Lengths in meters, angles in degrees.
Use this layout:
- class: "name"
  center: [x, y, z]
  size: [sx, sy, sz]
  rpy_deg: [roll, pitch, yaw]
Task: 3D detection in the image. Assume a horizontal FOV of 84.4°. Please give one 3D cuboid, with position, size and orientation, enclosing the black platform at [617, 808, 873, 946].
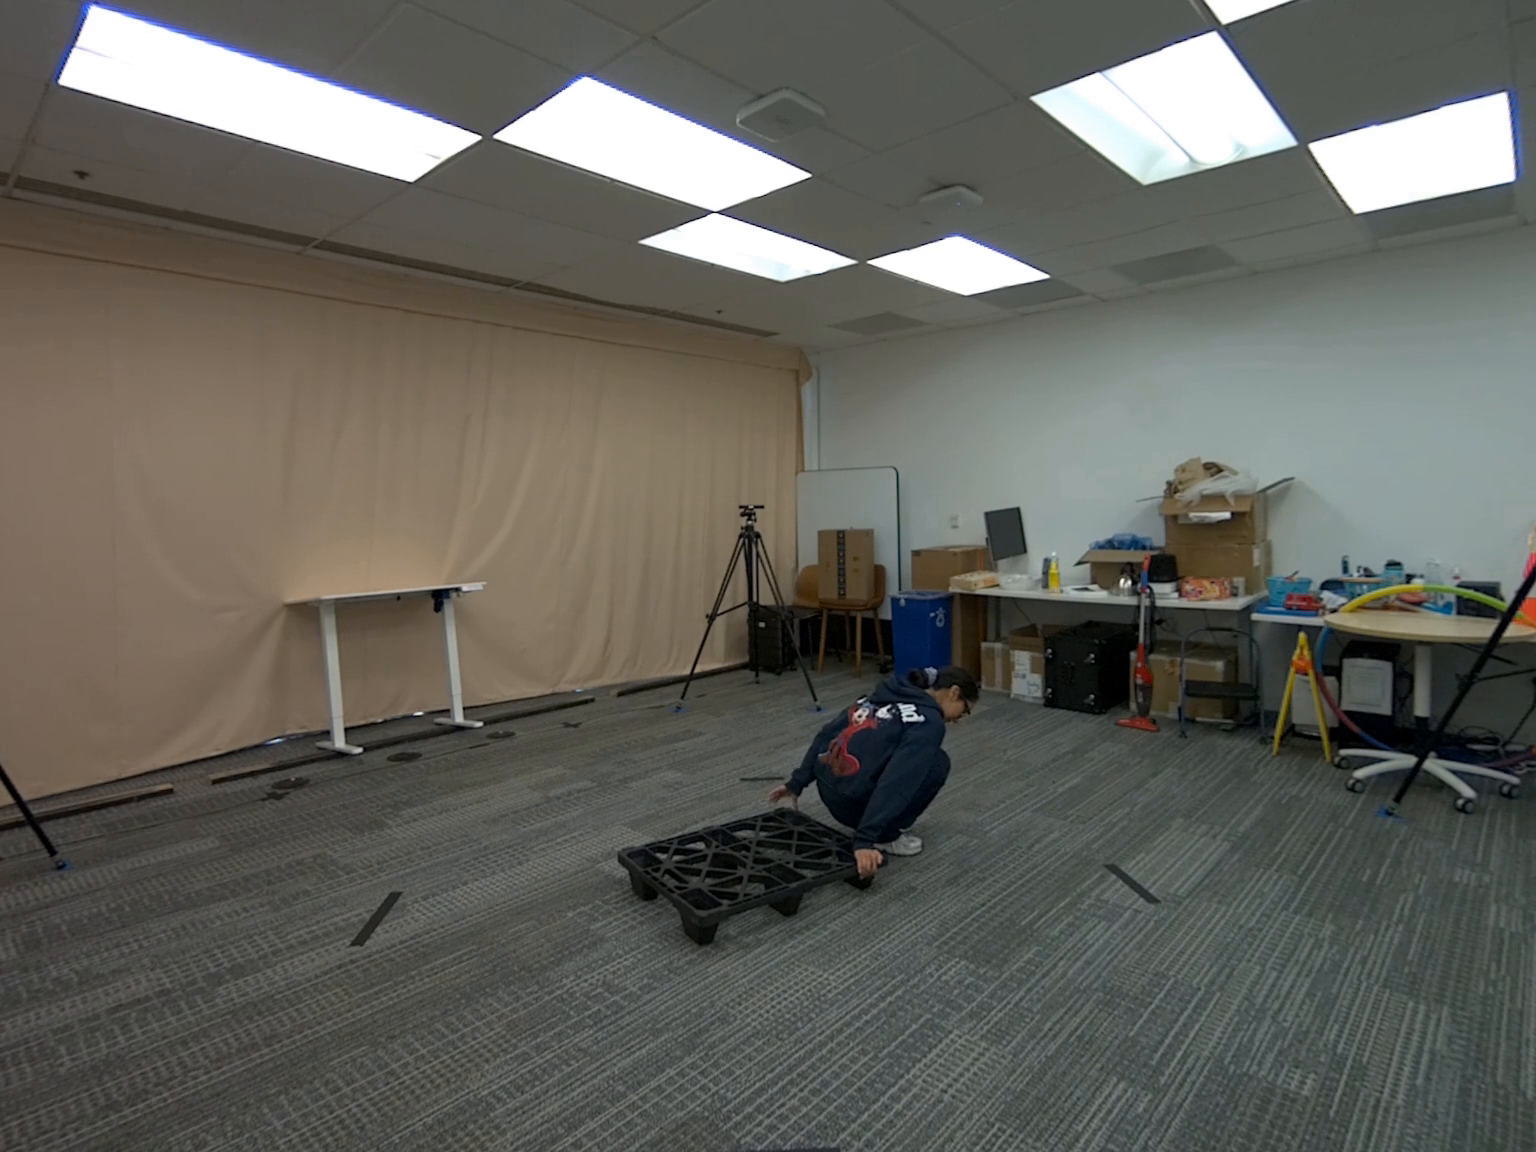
- class: "black platform"
  center: [-0.064, 1.070, 3.046]
  size: [0.783, 0.143, 0.624]
  rpy_deg: [-4, 5, -34]
